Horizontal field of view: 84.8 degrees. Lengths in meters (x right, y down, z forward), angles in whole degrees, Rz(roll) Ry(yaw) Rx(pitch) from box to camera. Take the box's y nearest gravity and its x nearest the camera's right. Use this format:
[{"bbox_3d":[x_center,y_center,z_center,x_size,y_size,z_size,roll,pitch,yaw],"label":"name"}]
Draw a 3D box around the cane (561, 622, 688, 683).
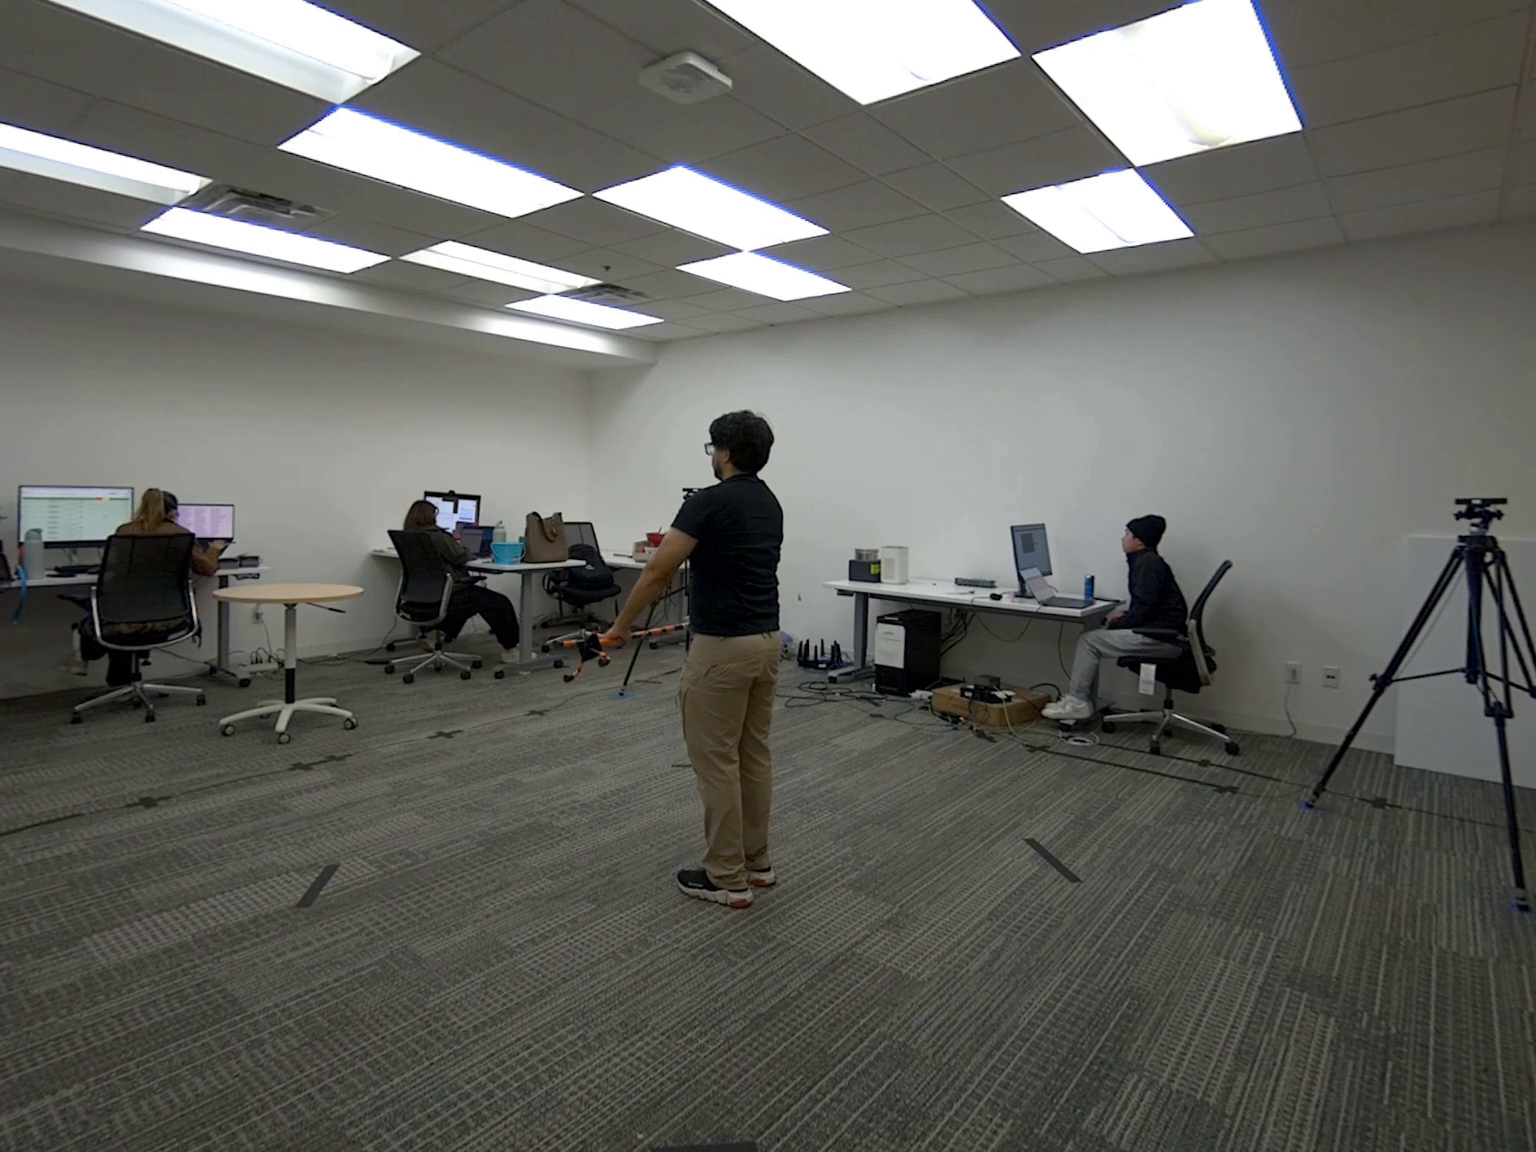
[{"bbox_3d":[-0.410,0.216,3.215,0.209,0.154,0.883,-27,-10,32],"label":"cane"}]
